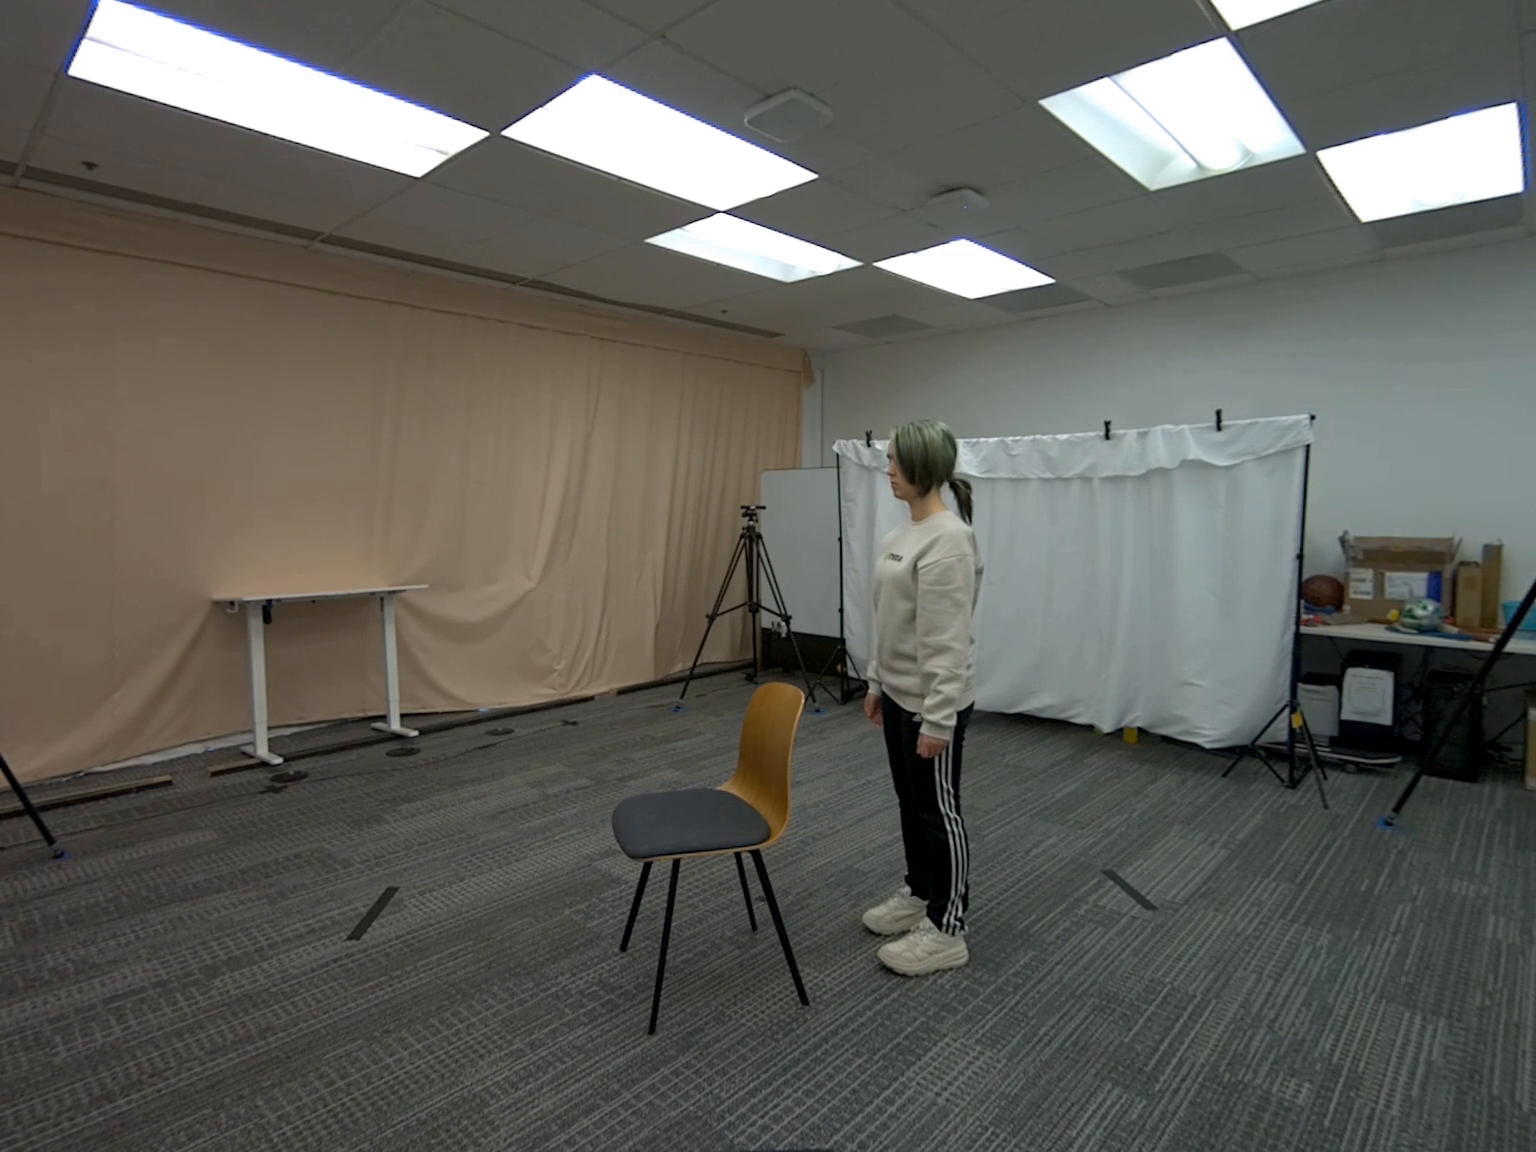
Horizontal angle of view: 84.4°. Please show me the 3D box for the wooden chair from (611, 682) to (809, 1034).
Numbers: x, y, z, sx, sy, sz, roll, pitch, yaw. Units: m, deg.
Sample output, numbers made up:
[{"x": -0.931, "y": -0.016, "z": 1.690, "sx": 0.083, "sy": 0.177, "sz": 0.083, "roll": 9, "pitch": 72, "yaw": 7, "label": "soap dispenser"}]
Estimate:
[{"x": -0.183, "y": 0.766, "z": 2.469, "sx": 0.513, "sy": 0.876, "sz": 0.488, "roll": 3, "pitch": 3, "yaw": -19, "label": "wooden chair"}]
